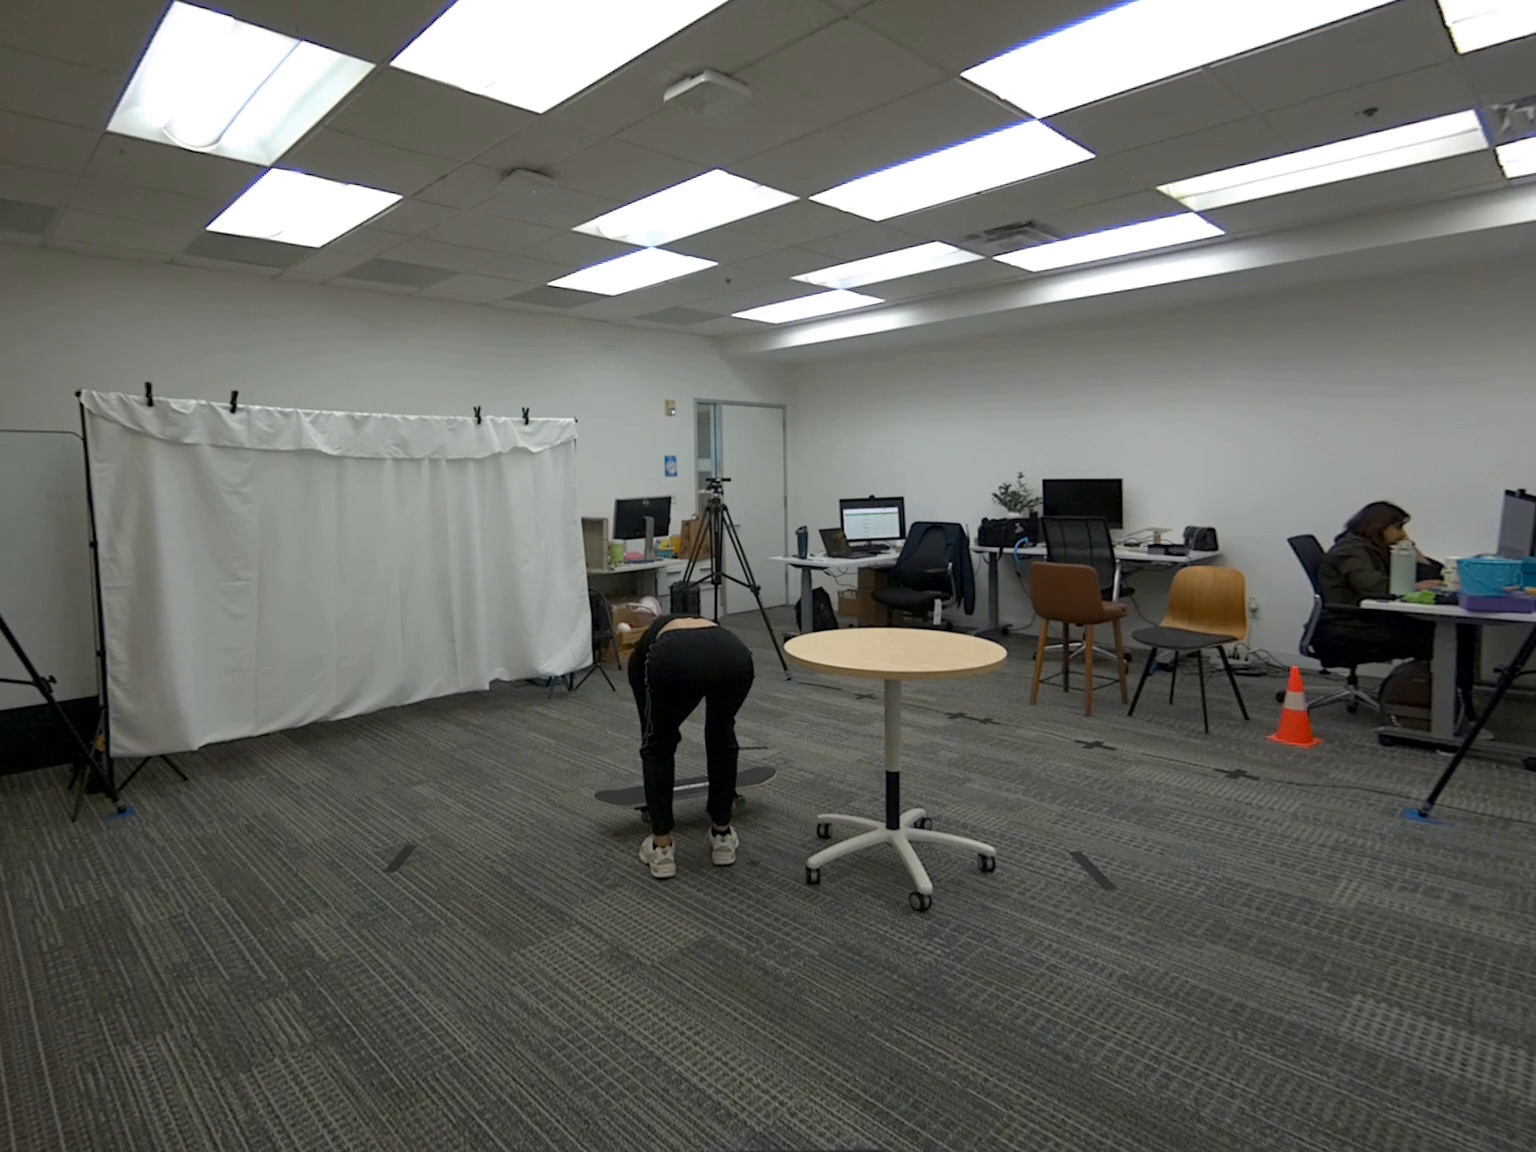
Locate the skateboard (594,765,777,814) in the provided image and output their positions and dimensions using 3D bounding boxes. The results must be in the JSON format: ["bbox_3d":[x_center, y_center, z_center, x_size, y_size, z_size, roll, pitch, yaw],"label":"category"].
[{"bbox_3d":[-0.322,0.895,3.514,0.771,0.110,0.198,-4,6,-22],"label":"skateboard"}]
